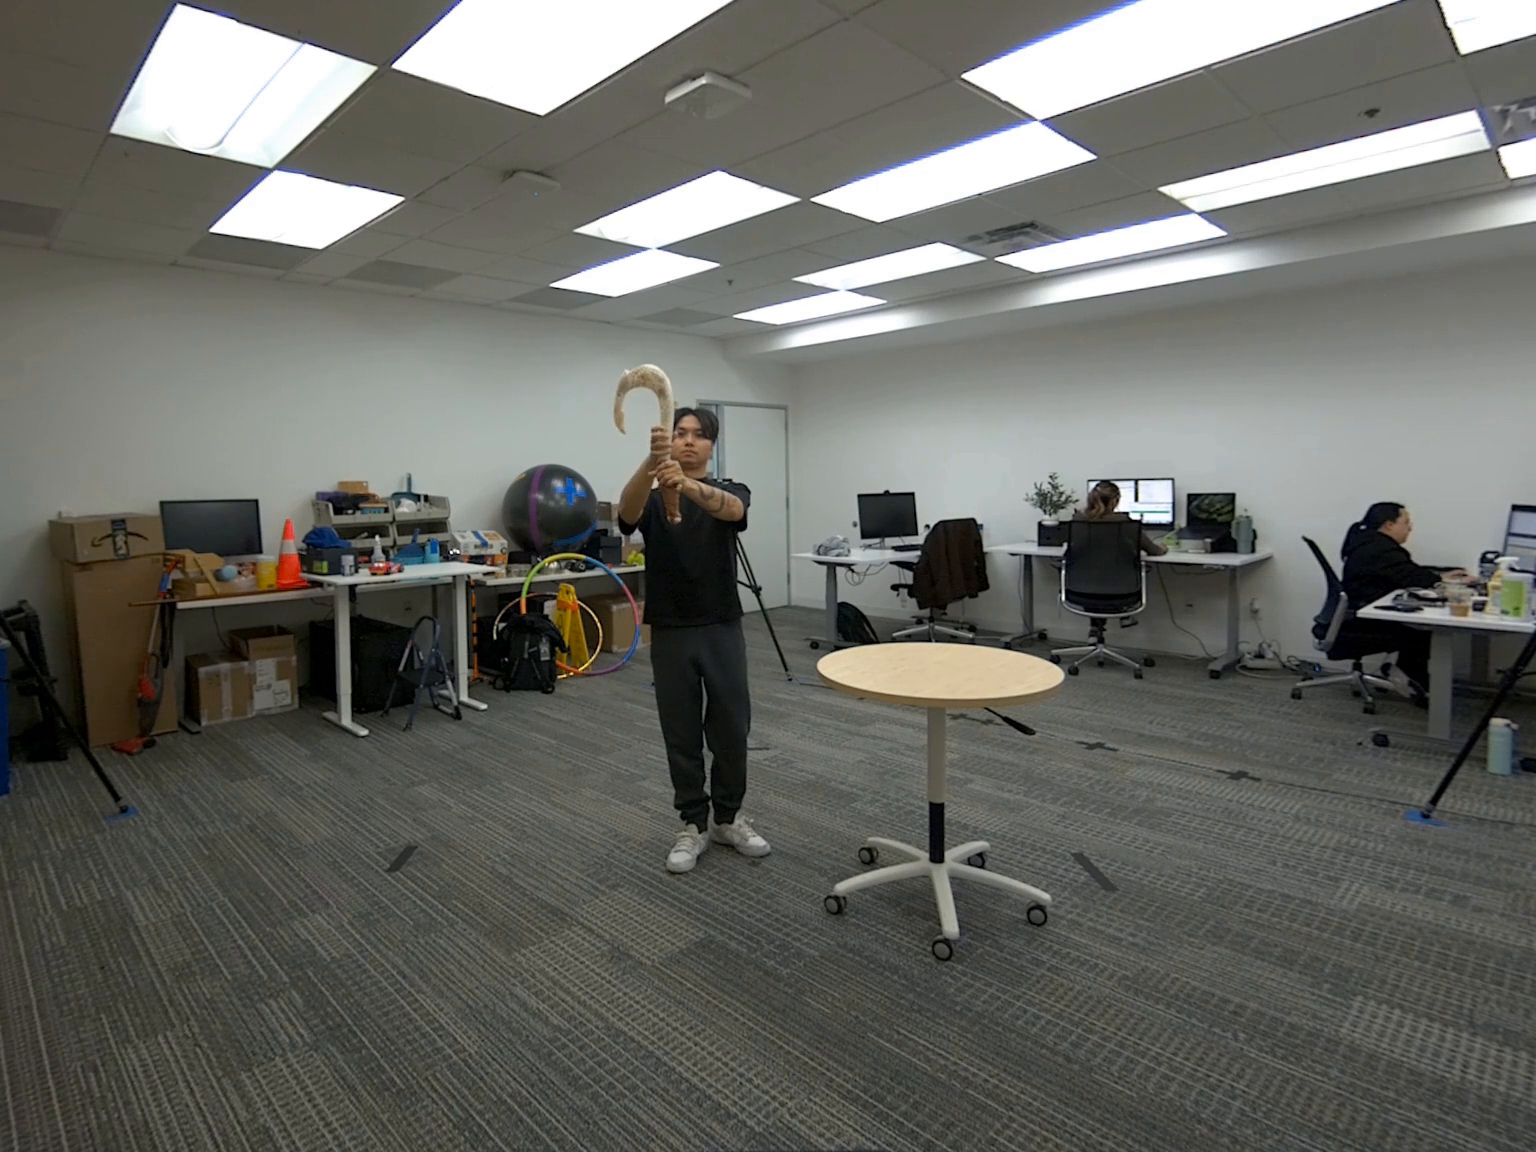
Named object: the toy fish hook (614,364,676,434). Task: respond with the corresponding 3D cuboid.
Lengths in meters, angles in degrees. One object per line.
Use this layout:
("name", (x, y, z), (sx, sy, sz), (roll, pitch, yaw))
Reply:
("toy fish hook", (-0.376, -0.402, 2.670), (0.229, 0.508, 0.047), (-9, -3, 33))
